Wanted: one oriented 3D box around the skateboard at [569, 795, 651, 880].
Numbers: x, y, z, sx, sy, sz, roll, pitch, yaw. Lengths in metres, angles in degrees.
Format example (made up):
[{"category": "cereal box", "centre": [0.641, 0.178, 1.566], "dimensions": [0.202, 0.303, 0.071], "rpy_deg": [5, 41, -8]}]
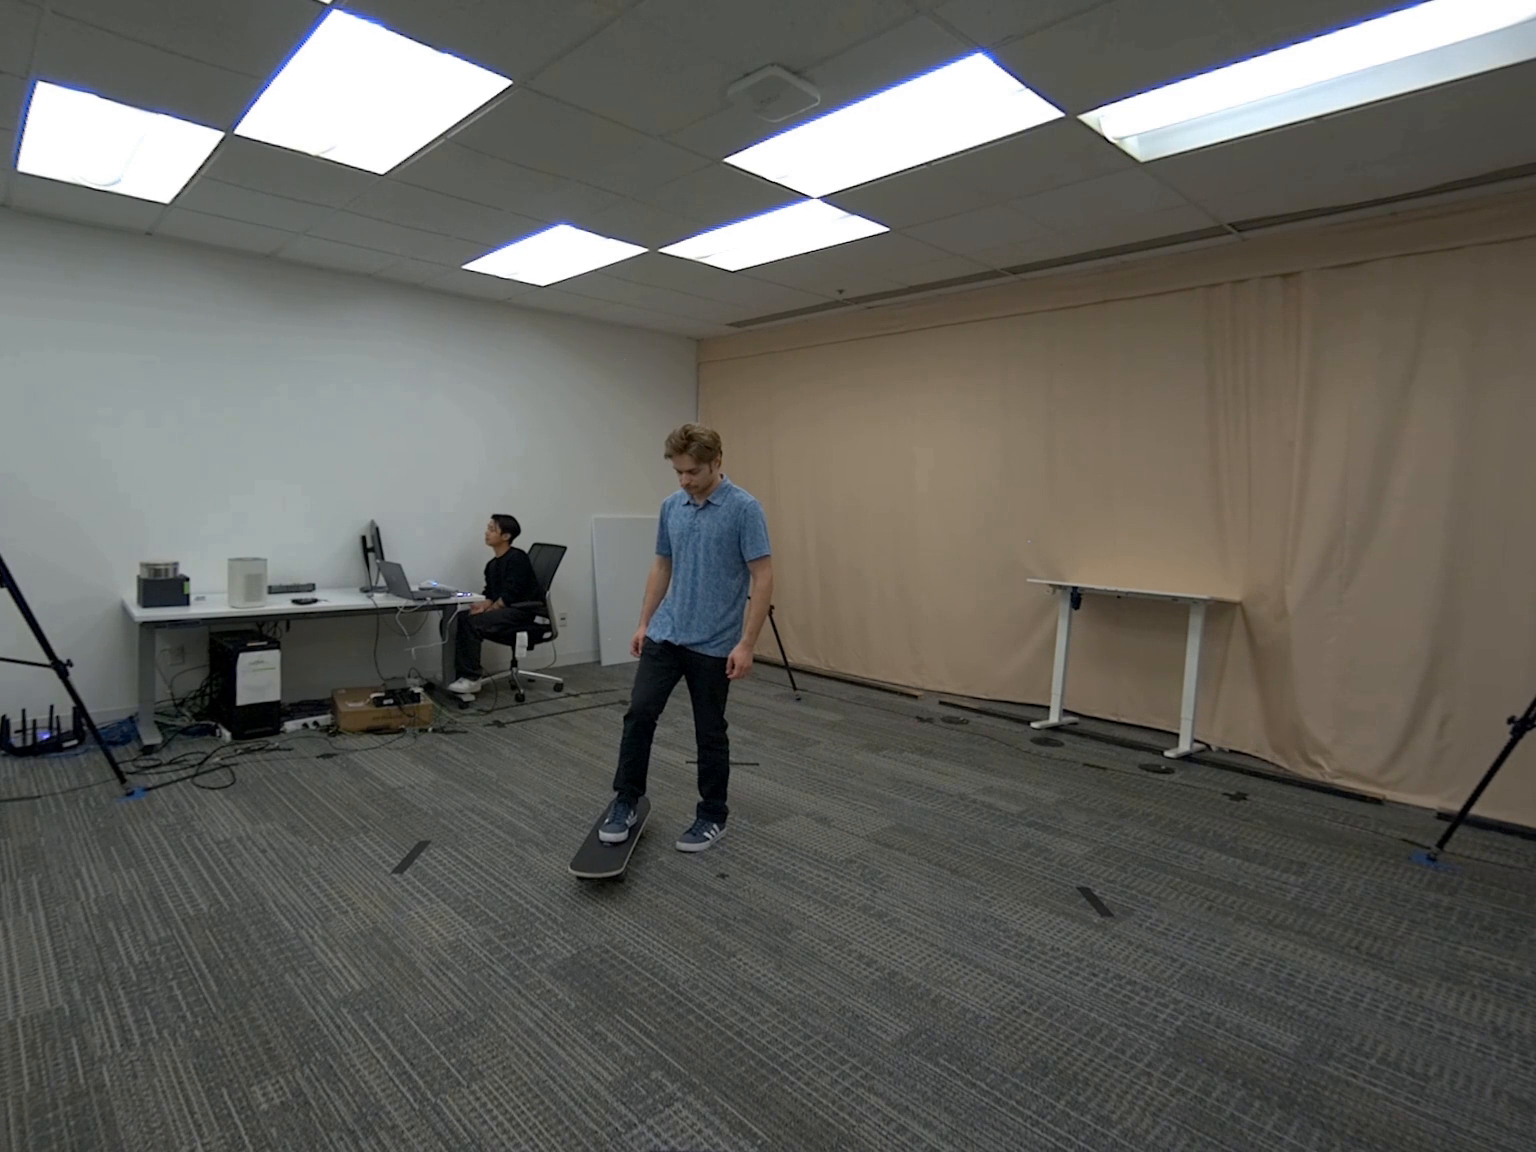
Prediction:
[{"category": "skateboard", "centre": [-0.599, 1.026, 3.246], "dimensions": [0.194, 0.110, 0.786], "rpy_deg": [3, 6, 2]}]
